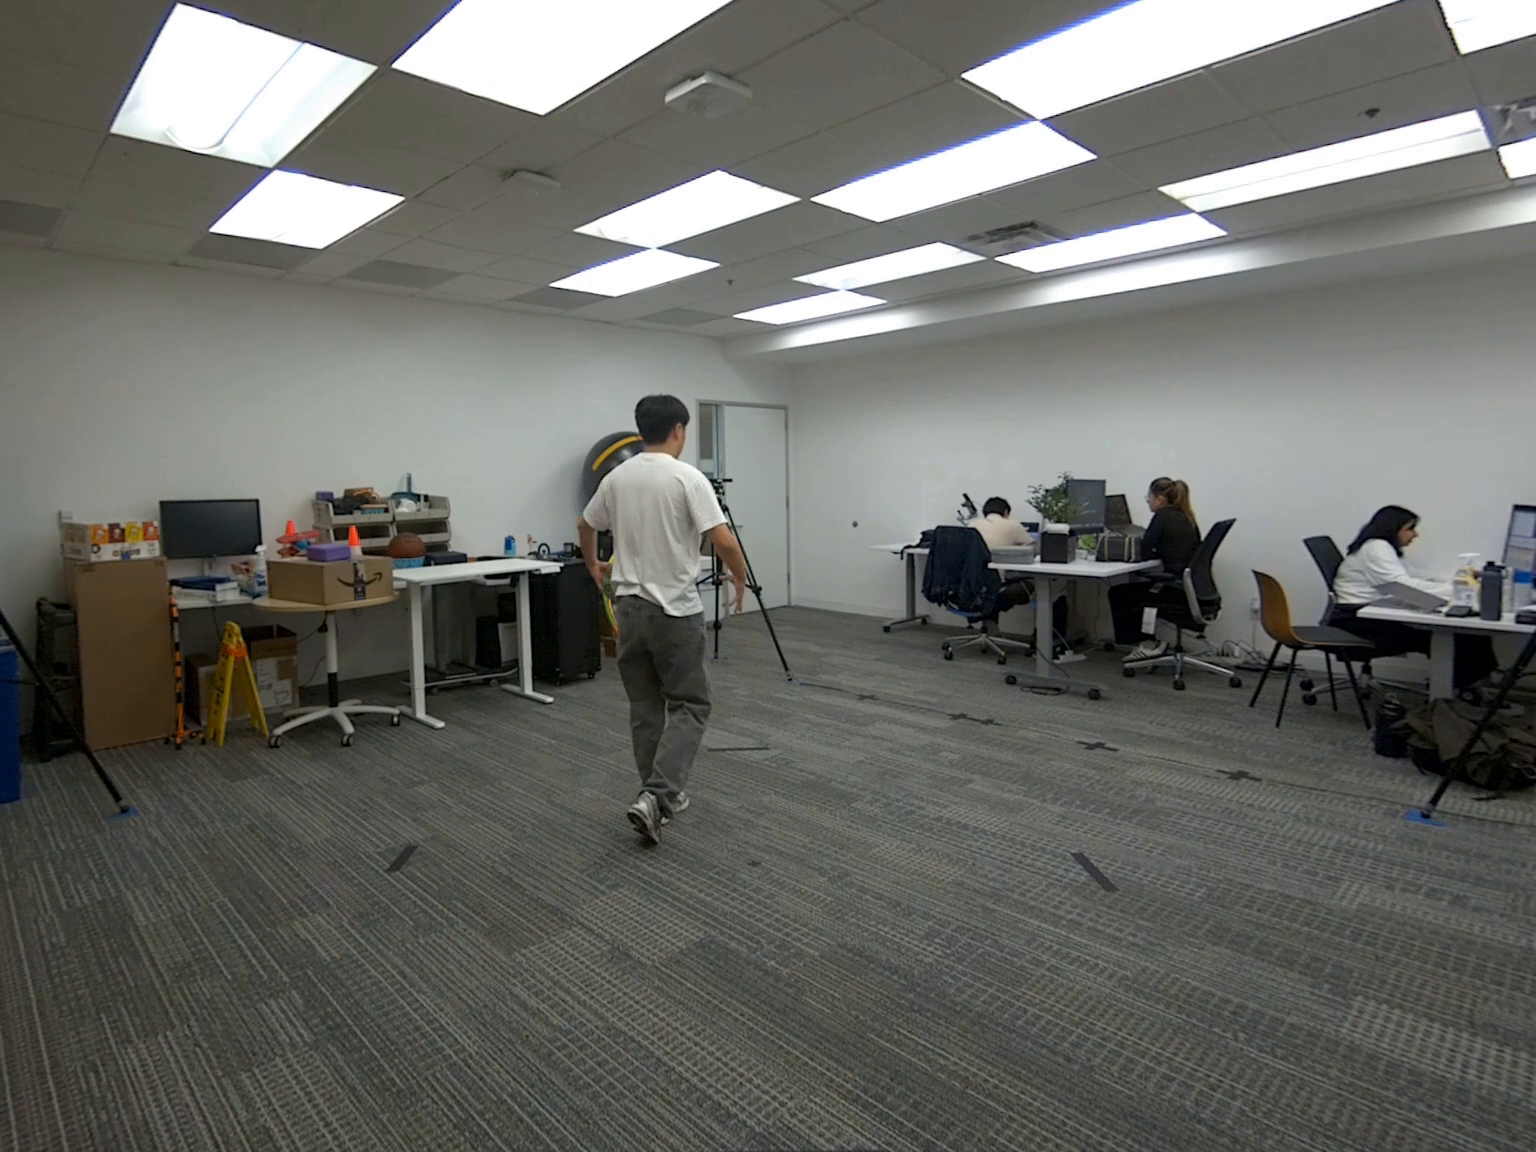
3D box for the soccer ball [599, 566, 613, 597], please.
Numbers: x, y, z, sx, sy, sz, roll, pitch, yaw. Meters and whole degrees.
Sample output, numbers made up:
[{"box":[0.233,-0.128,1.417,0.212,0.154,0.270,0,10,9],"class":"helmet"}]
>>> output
[{"box":[-0.675,0.052,3.686,0.187,0.187,0.188,-1,5,-2],"class":"soccer ball"}]
